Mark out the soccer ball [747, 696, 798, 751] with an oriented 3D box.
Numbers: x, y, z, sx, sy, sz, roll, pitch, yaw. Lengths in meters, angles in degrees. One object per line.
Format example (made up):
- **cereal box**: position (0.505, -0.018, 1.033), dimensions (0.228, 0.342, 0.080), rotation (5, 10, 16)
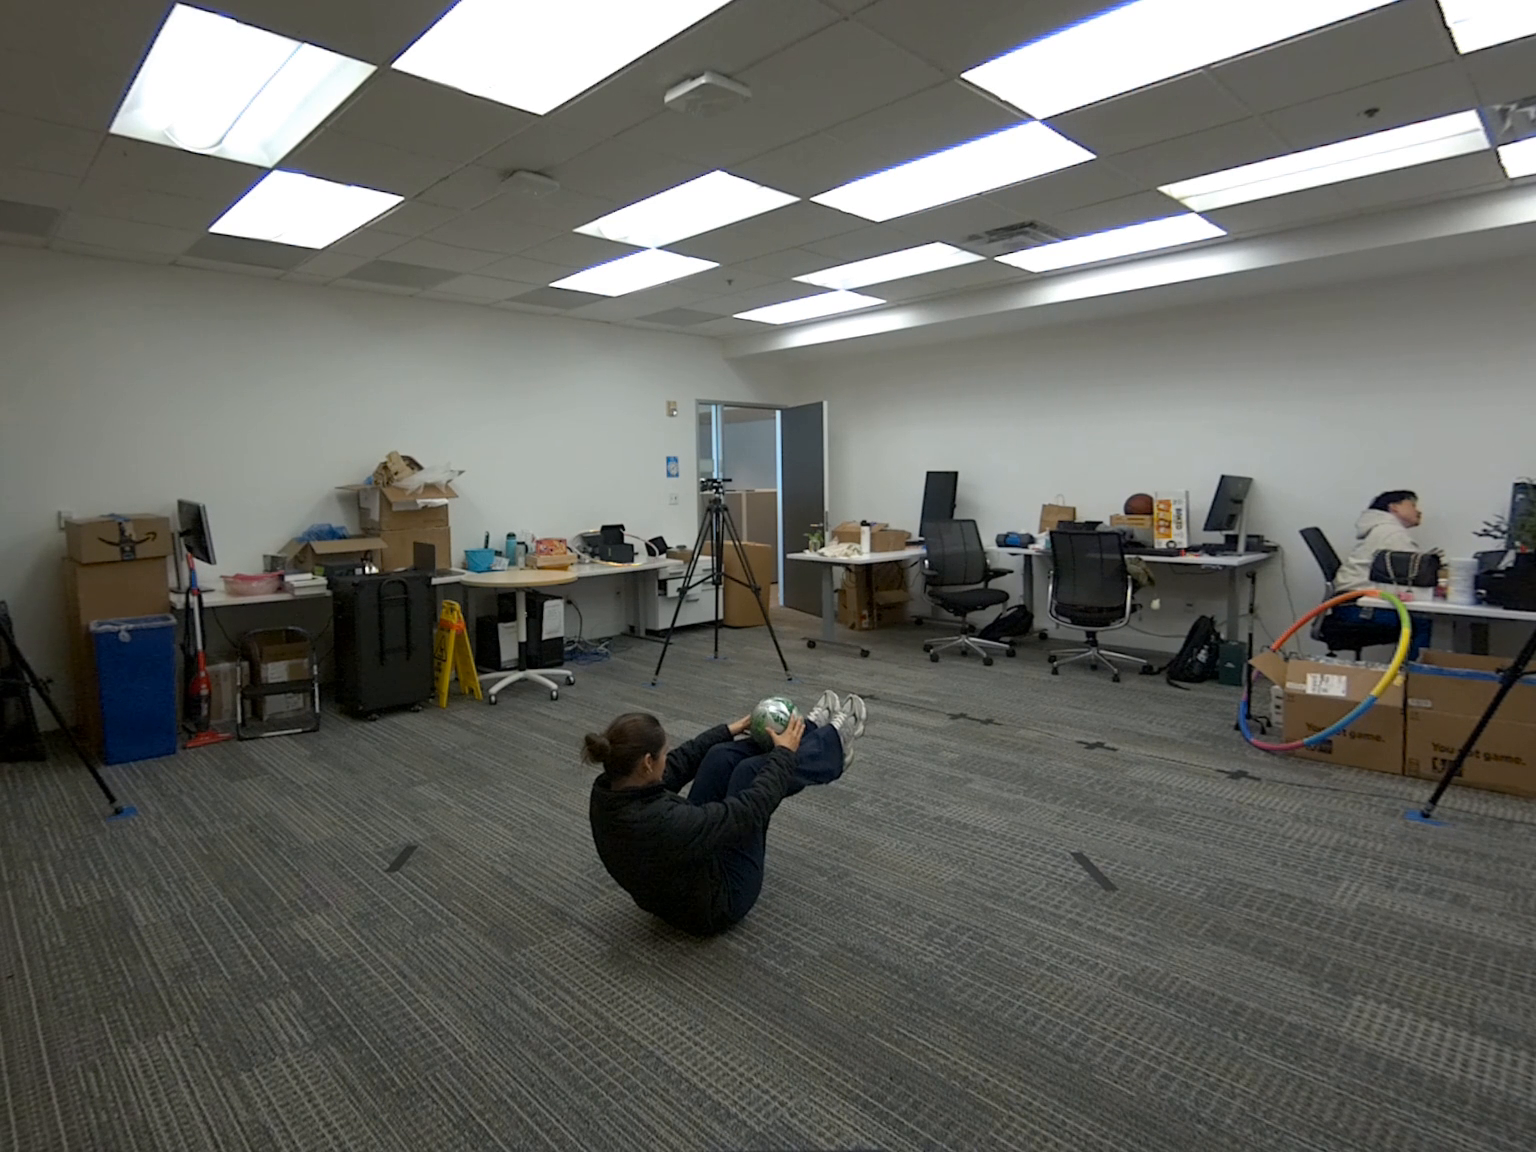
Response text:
- **soccer ball**: position (0.039, 0.509, 2.903), dimensions (0.187, 0.187, 0.188), rotation (0, 1, -2)
